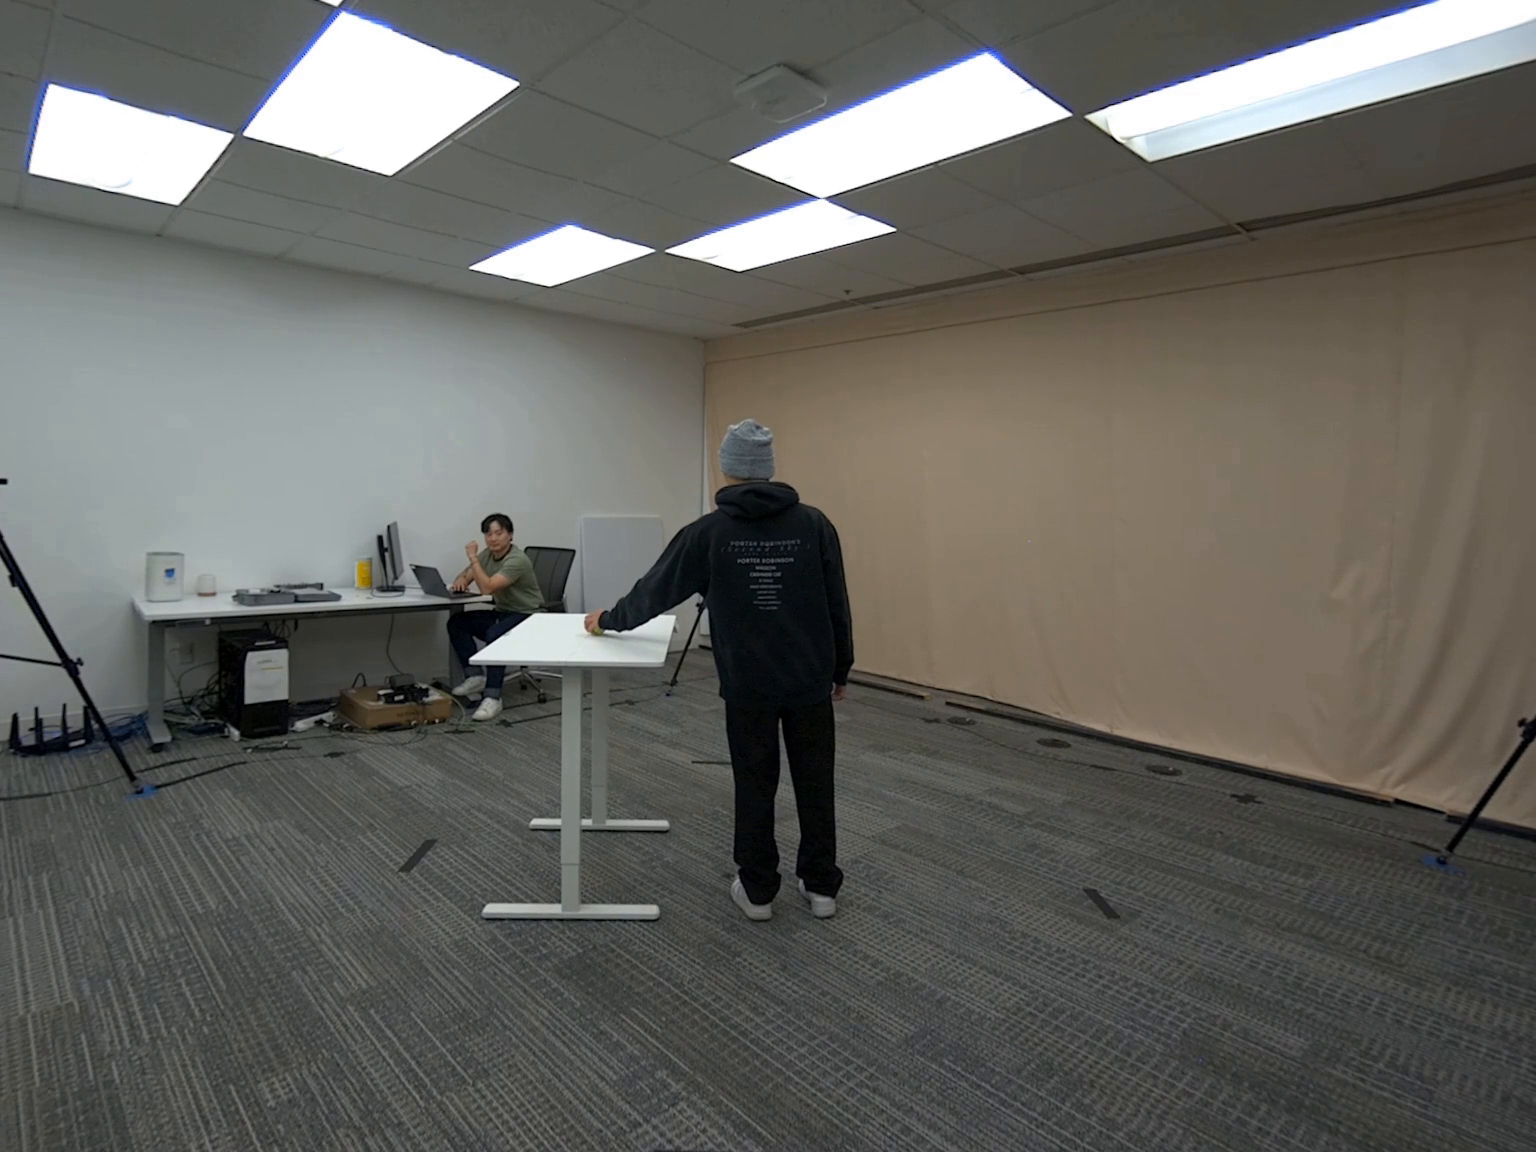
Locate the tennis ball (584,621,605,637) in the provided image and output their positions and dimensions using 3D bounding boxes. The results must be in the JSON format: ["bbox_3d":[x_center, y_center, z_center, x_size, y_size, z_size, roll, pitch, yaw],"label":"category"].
[{"bbox_3d":[-0.626,0.181,3.081,0.066,0.066,0.067,1,4,-1],"label":"tennis ball"}]
